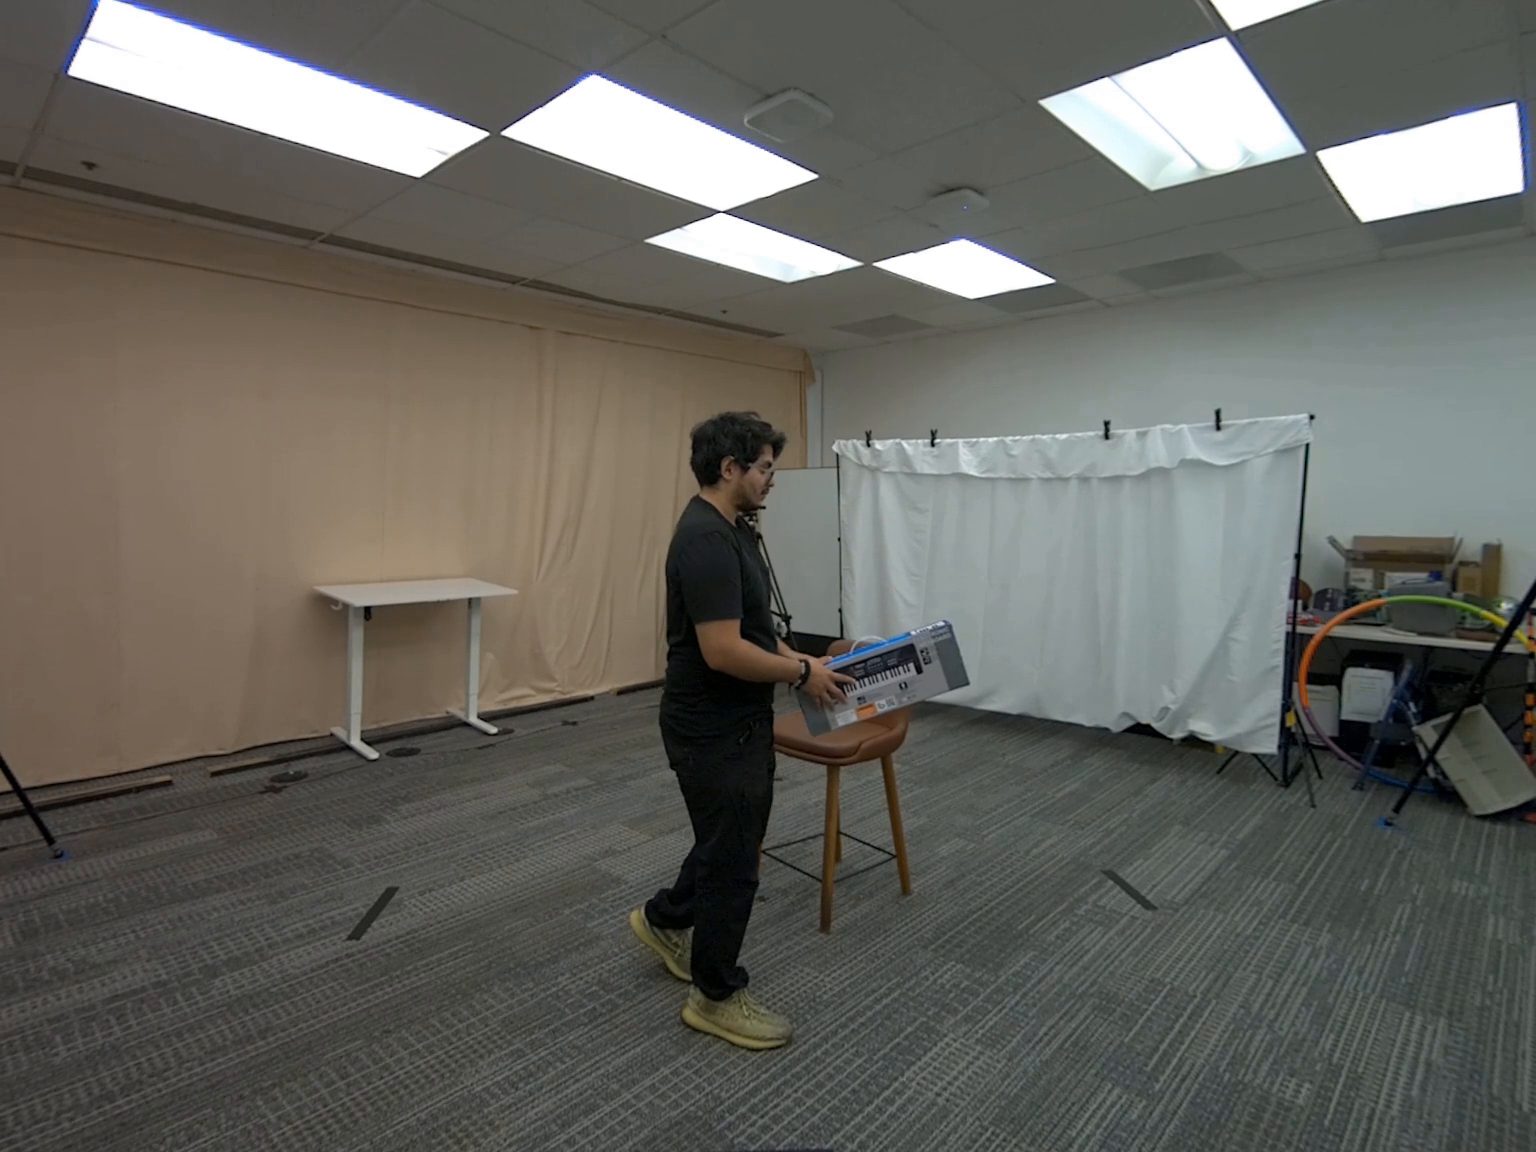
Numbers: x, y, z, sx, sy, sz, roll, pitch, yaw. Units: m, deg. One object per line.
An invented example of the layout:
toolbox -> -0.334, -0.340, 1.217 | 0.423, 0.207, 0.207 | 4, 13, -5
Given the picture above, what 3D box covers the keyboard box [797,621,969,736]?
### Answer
keyboard box -> 0.299, 0.276, 2.218 | 0.438, 0.175, 0.059 | -19, 8, 4
